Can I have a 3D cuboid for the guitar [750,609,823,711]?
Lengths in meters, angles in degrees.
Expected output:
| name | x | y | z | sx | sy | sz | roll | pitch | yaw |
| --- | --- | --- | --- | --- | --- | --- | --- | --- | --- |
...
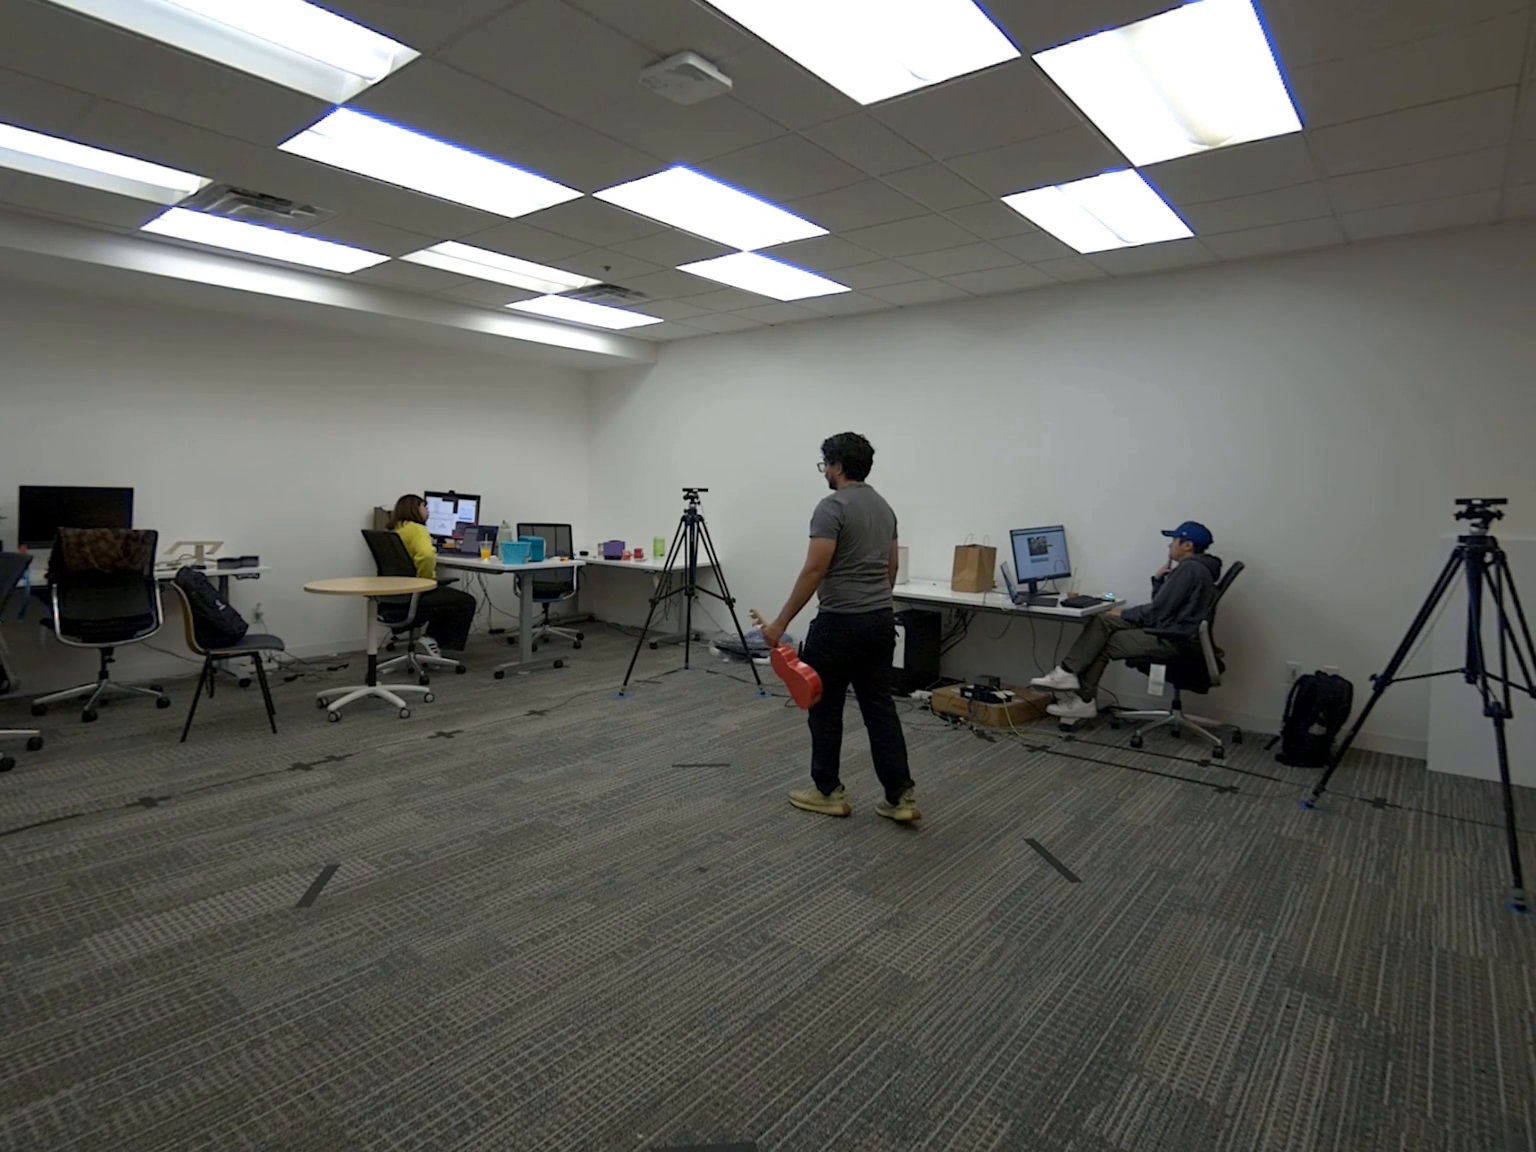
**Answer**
| name | x | y | z | sx | sy | sz | roll | pitch | yaw |
| --- | --- | --- | --- | --- | --- | --- | --- | --- | --- |
| guitar | 0.043 | 0.342 | 3.543 | 0.069 | 0.188 | 0.519 | -21 | 45 | -26 |
